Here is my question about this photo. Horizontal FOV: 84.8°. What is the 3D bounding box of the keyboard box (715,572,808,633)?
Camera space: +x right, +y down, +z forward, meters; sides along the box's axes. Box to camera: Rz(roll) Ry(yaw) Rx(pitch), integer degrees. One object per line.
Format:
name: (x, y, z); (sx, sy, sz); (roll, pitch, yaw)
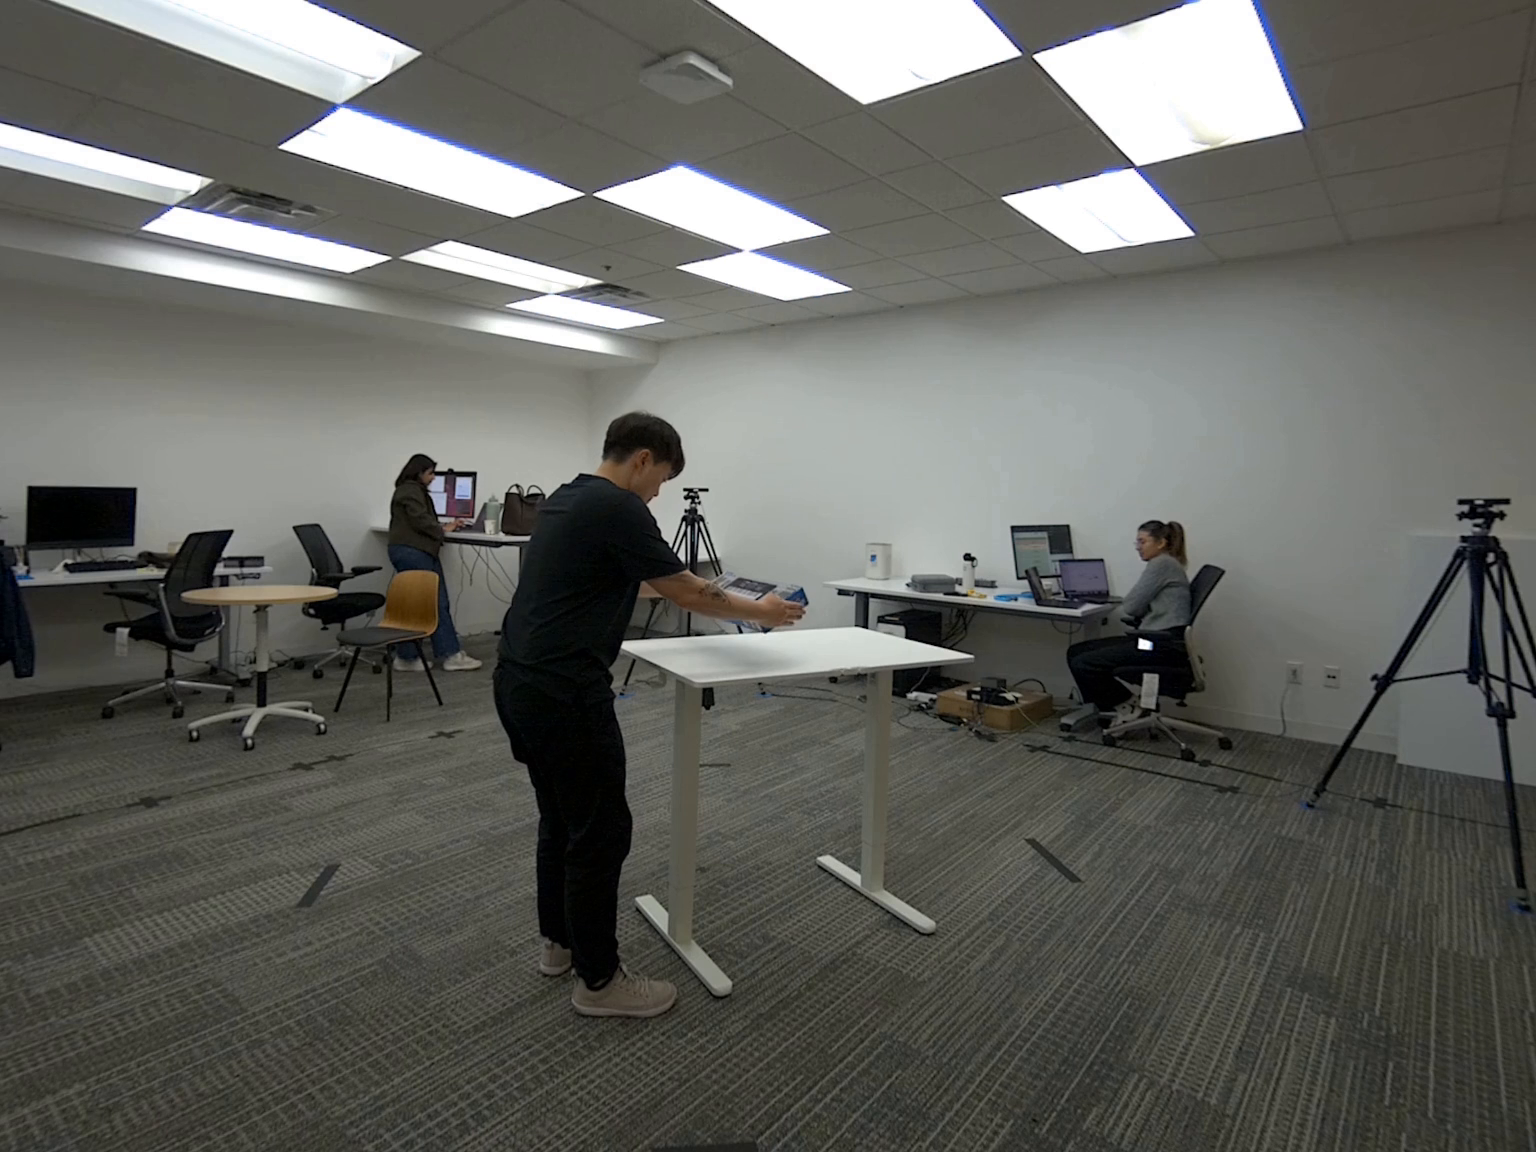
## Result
keyboard box: (-0.083, 0.073, 2.615); (0.174, 0.058, 0.451); (-35, 23, -25)
